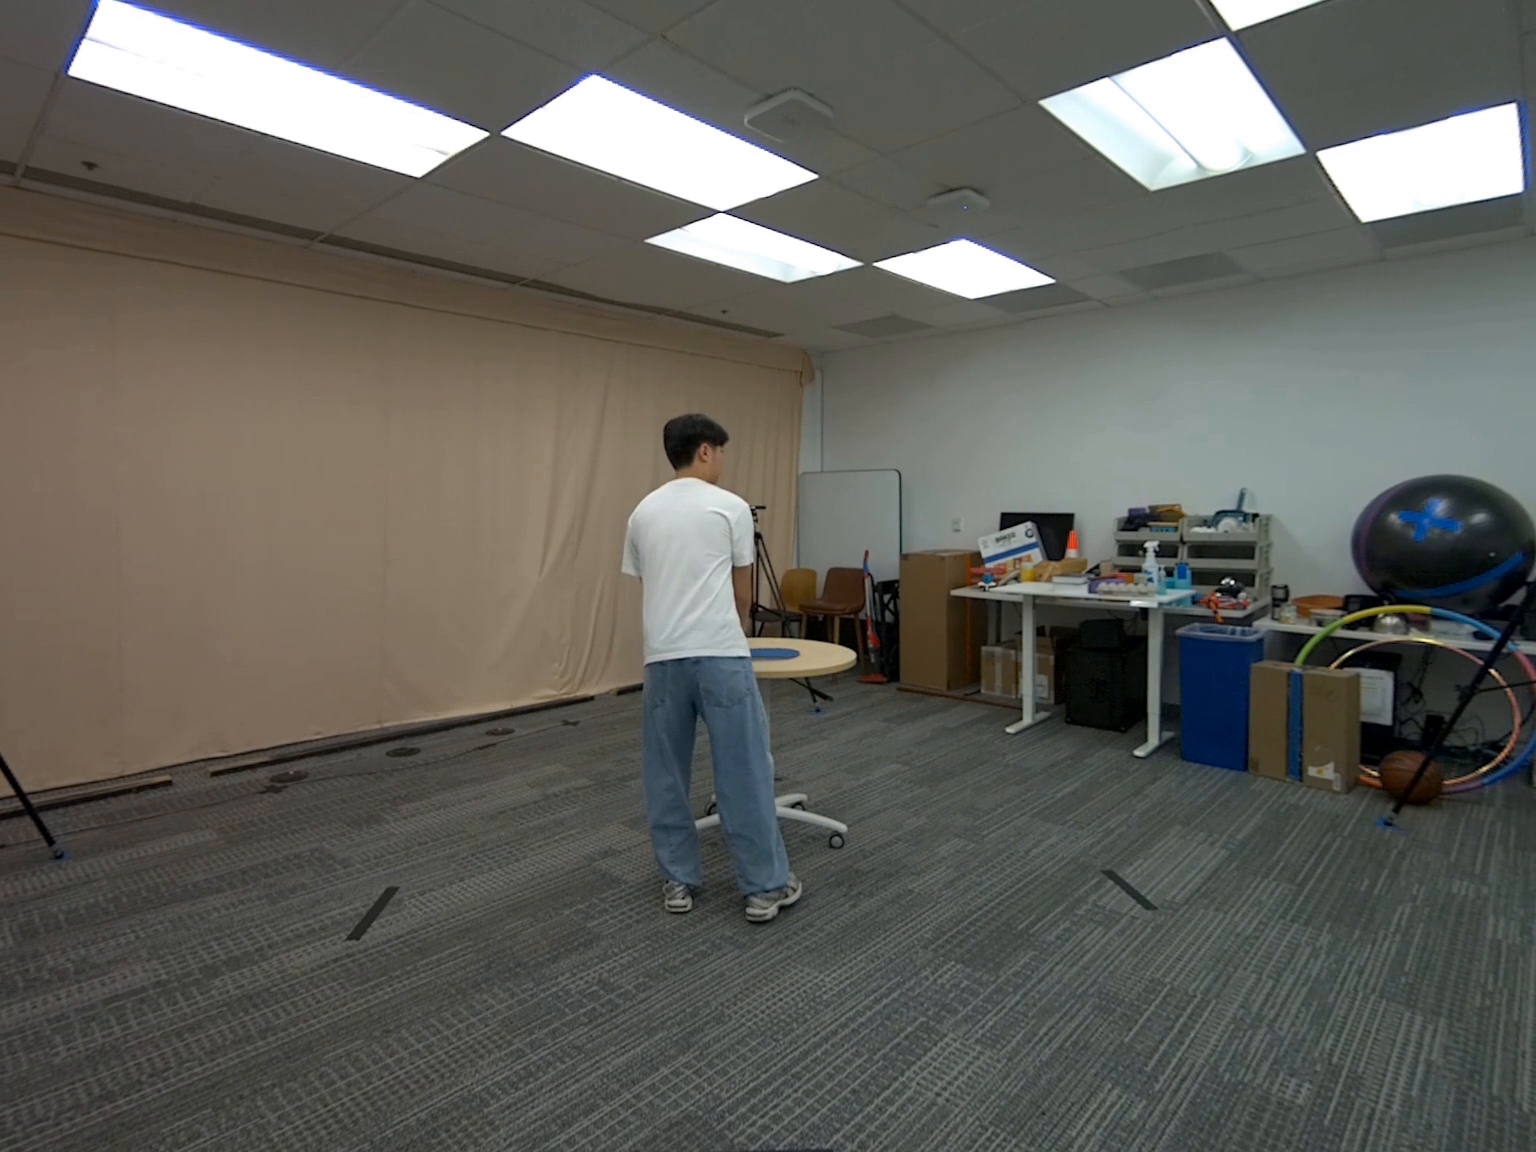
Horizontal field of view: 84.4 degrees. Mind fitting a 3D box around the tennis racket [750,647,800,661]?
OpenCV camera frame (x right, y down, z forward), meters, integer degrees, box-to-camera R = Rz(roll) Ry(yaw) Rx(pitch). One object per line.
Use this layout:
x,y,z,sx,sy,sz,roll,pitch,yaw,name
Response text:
-0.037,0.315,3.384,0.419,0.032,0.221,-1,4,-42,tennis racket
